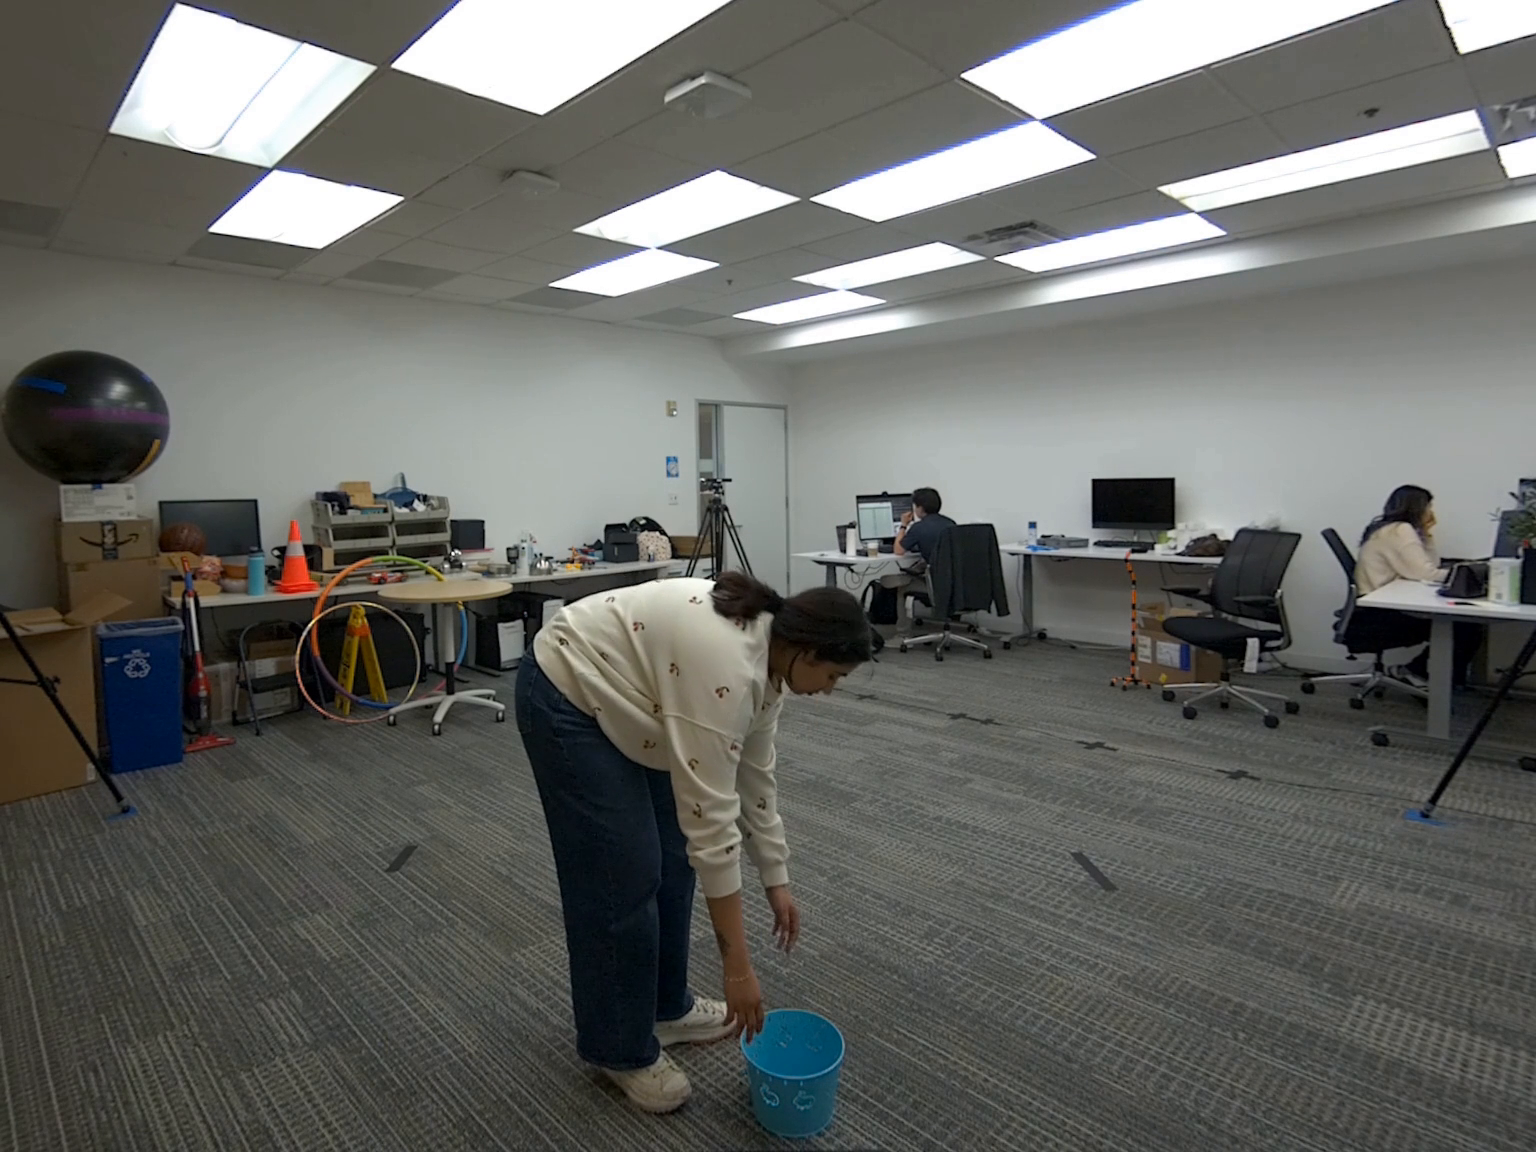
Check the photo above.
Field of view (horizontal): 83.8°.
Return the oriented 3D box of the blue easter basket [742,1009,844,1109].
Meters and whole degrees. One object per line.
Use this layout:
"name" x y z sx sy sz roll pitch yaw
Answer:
"blue easter basket" 0.063 1.098 1.906 0.243 0.155 0.245 0 6 -2
